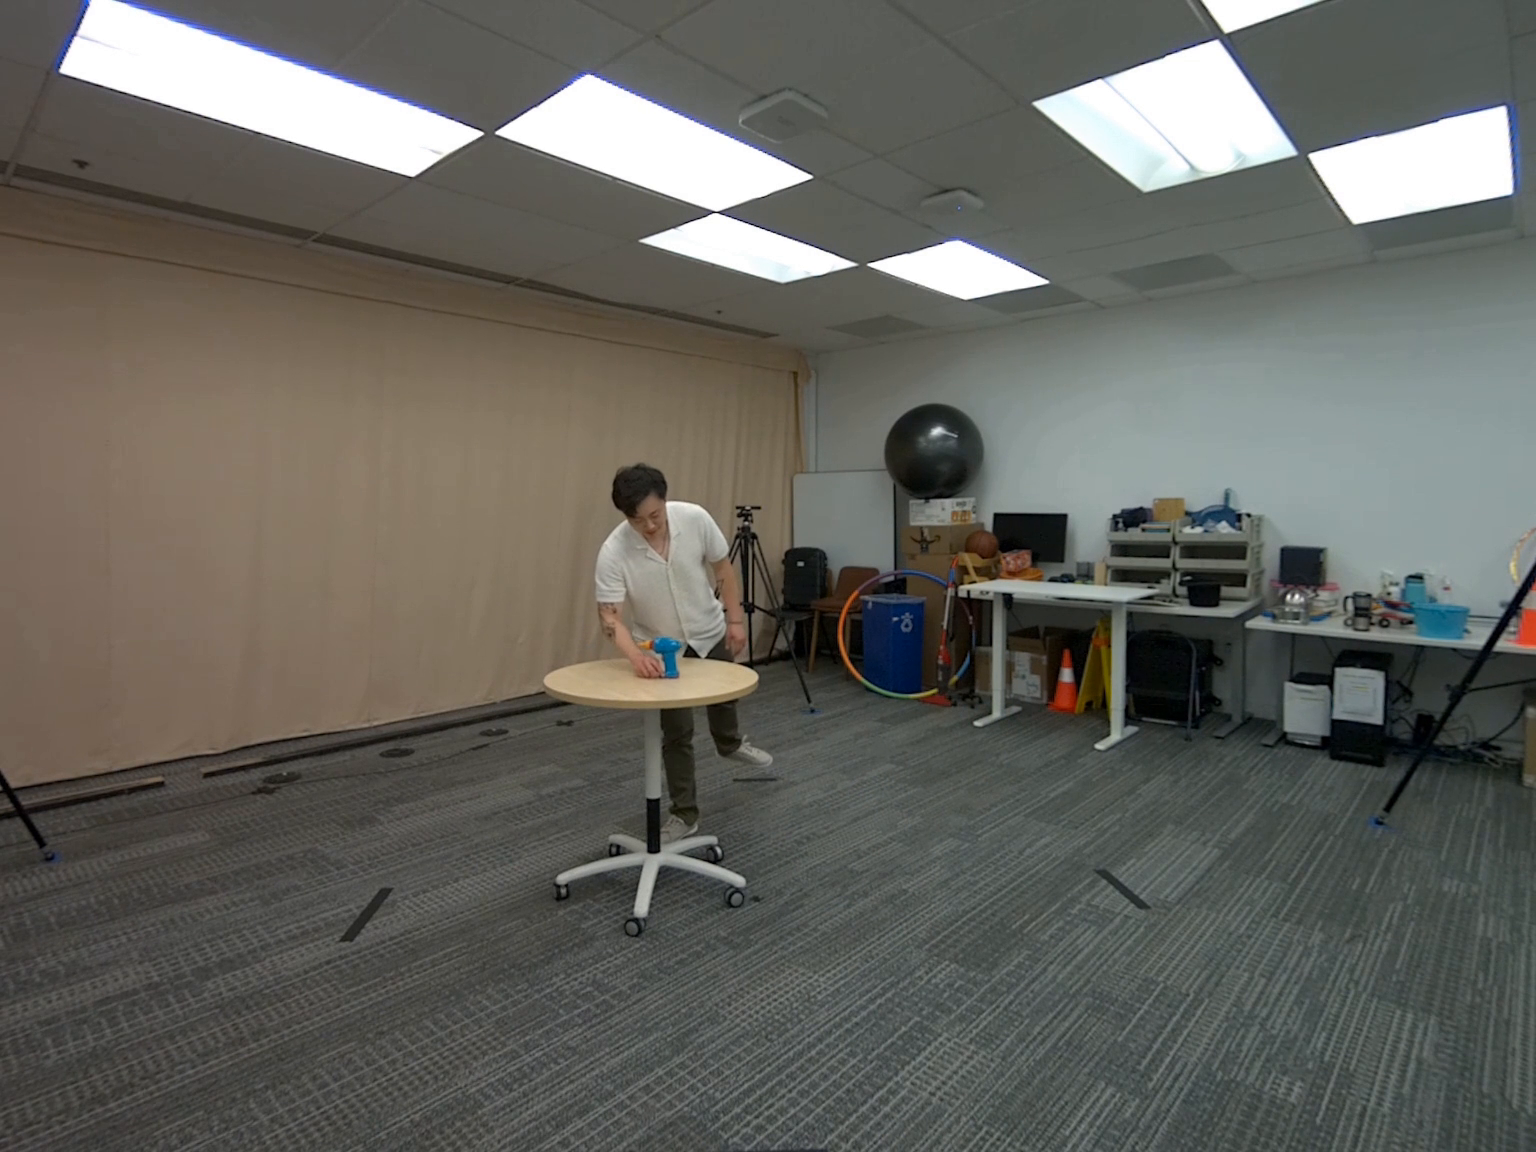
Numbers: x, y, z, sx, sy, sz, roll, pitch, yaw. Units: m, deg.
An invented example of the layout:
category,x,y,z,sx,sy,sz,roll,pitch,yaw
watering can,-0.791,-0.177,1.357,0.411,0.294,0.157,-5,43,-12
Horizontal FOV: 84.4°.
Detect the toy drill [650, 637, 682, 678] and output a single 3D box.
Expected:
category,x,y,z,sx,sy,sz,roll,pitch,yaw
toy drill,-0.386,0.285,3.022,0.173,0.145,0.060,1,8,16
